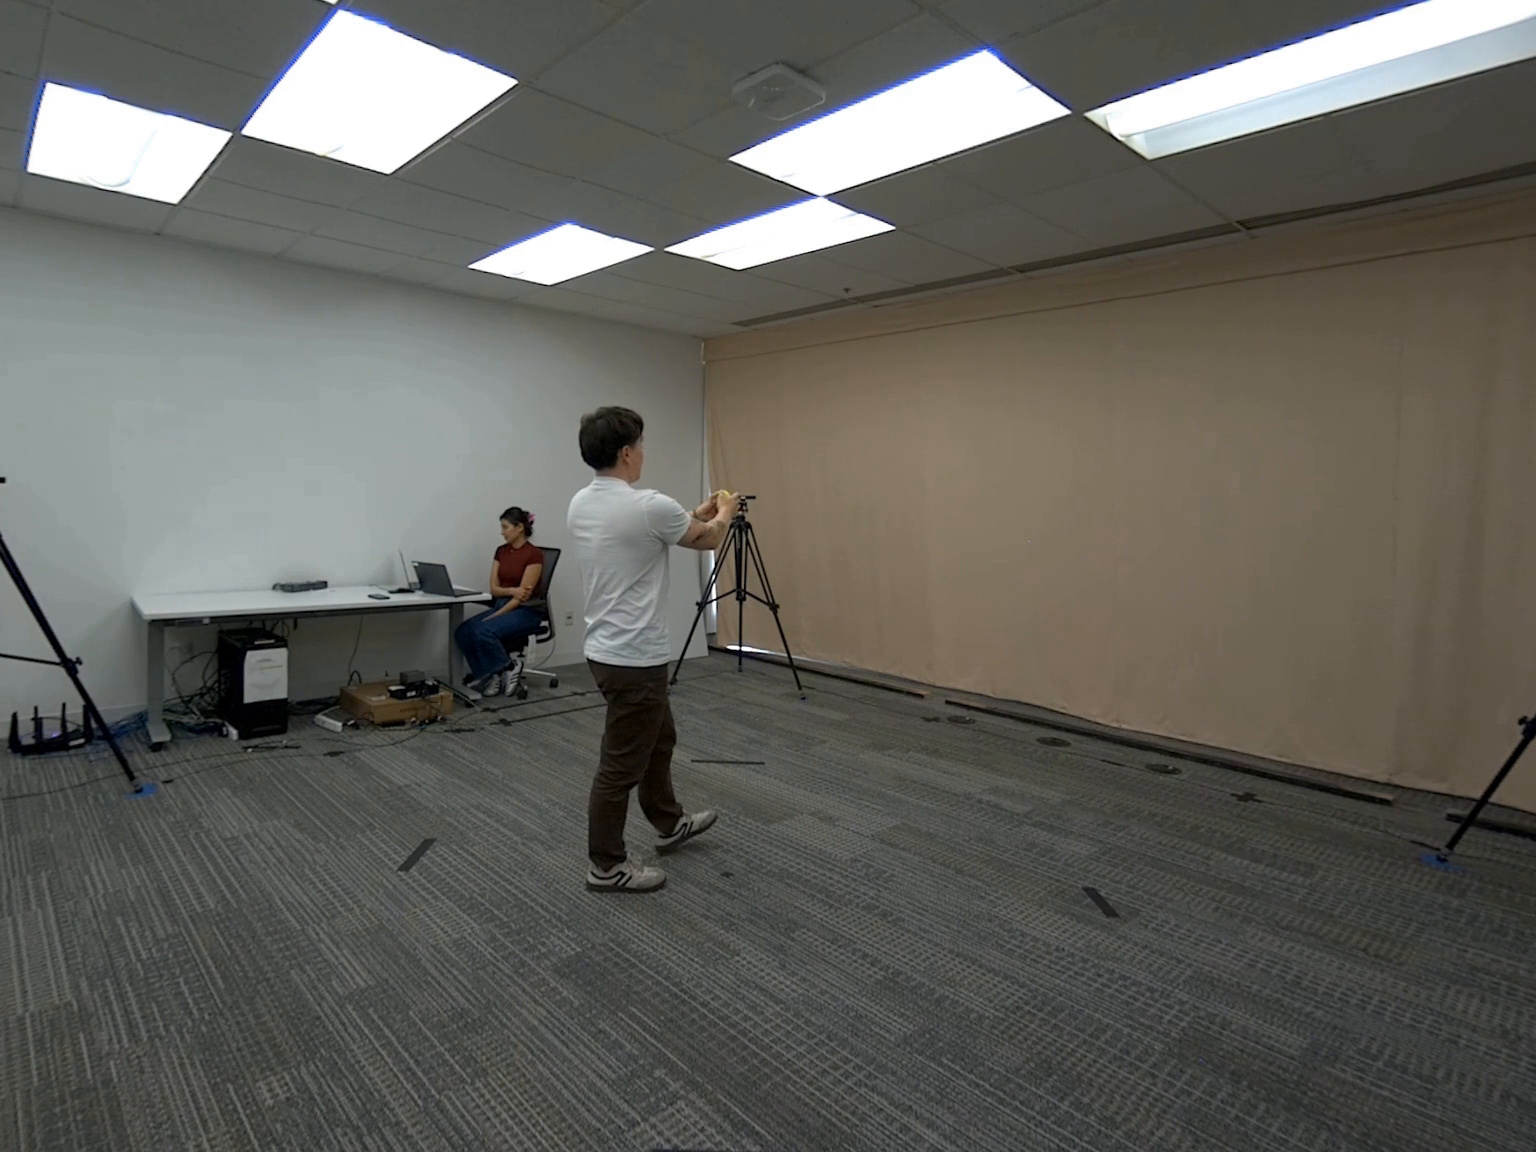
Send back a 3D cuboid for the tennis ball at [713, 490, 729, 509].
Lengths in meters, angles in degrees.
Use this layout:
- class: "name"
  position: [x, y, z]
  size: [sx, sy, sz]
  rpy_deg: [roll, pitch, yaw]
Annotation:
- class: "tennis ball"
  position: [-0.220, -0.294, 3.305]
  size: [0.066, 0.066, 0.067]
  rpy_deg: [1, 4, -1]
